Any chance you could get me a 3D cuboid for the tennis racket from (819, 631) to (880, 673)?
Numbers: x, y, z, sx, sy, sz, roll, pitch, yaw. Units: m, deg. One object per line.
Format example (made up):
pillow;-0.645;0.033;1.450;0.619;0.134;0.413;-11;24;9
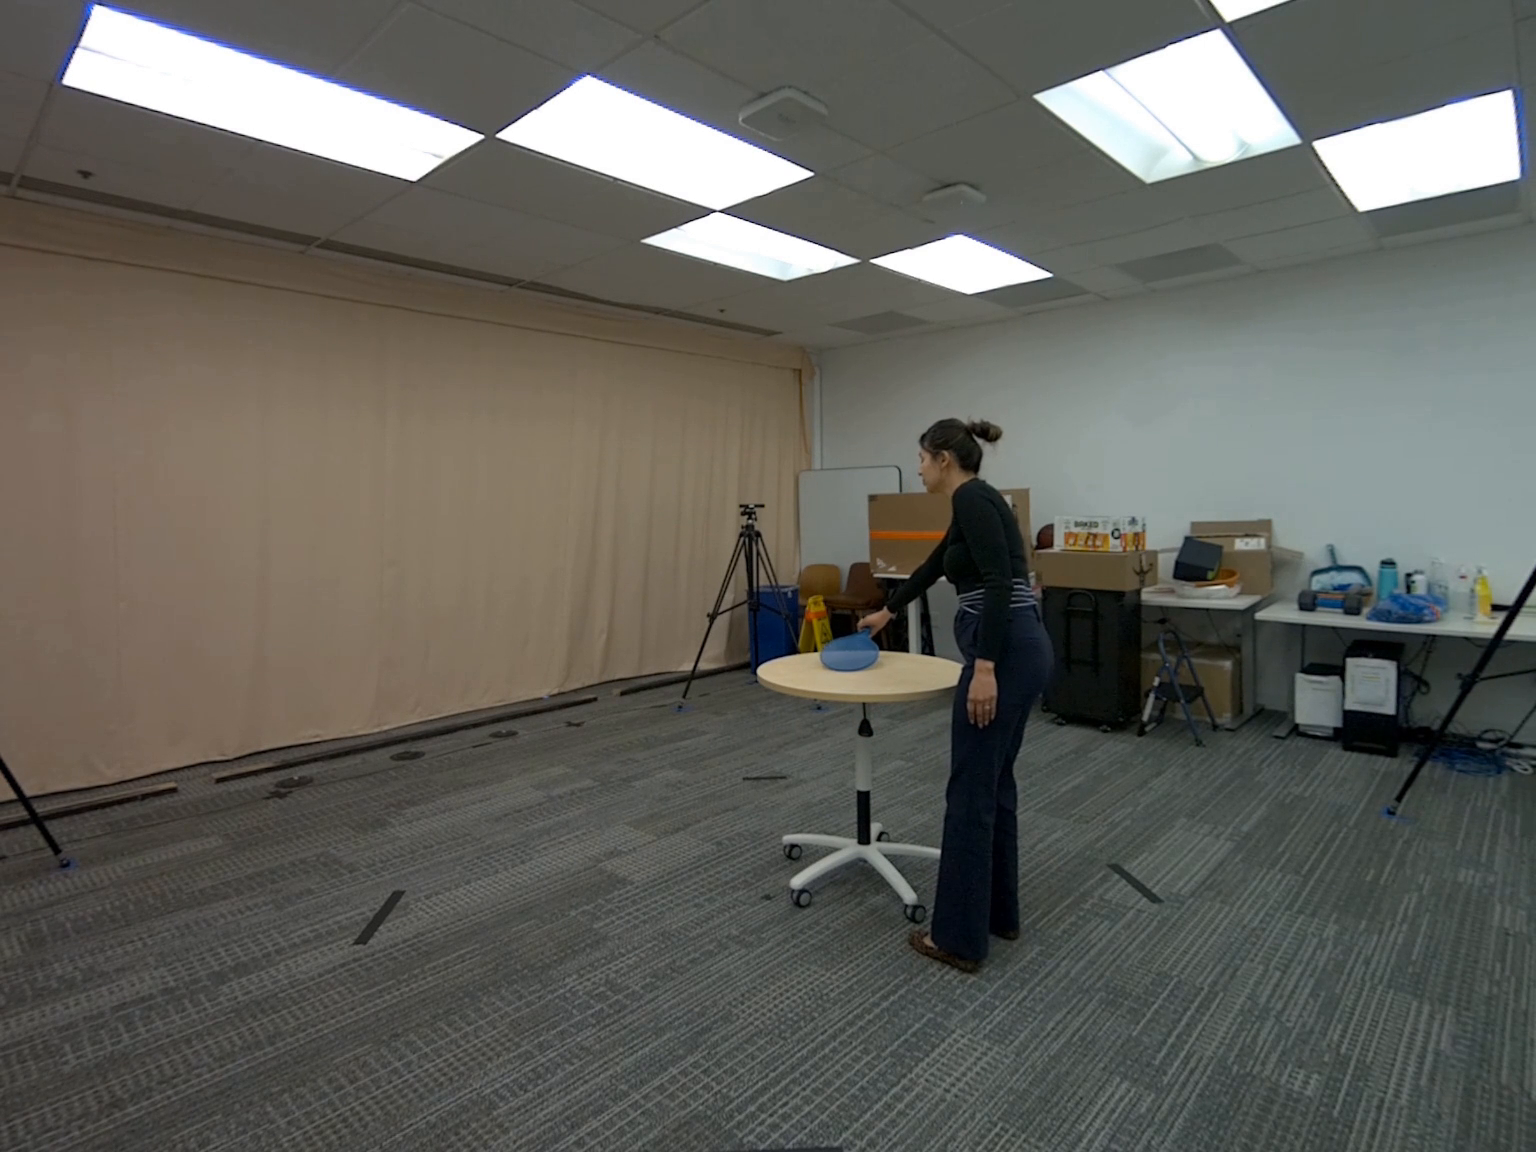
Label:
tennis racket;0.344;0.259;3.214;0.220;0.031;0.426;8;25;27
